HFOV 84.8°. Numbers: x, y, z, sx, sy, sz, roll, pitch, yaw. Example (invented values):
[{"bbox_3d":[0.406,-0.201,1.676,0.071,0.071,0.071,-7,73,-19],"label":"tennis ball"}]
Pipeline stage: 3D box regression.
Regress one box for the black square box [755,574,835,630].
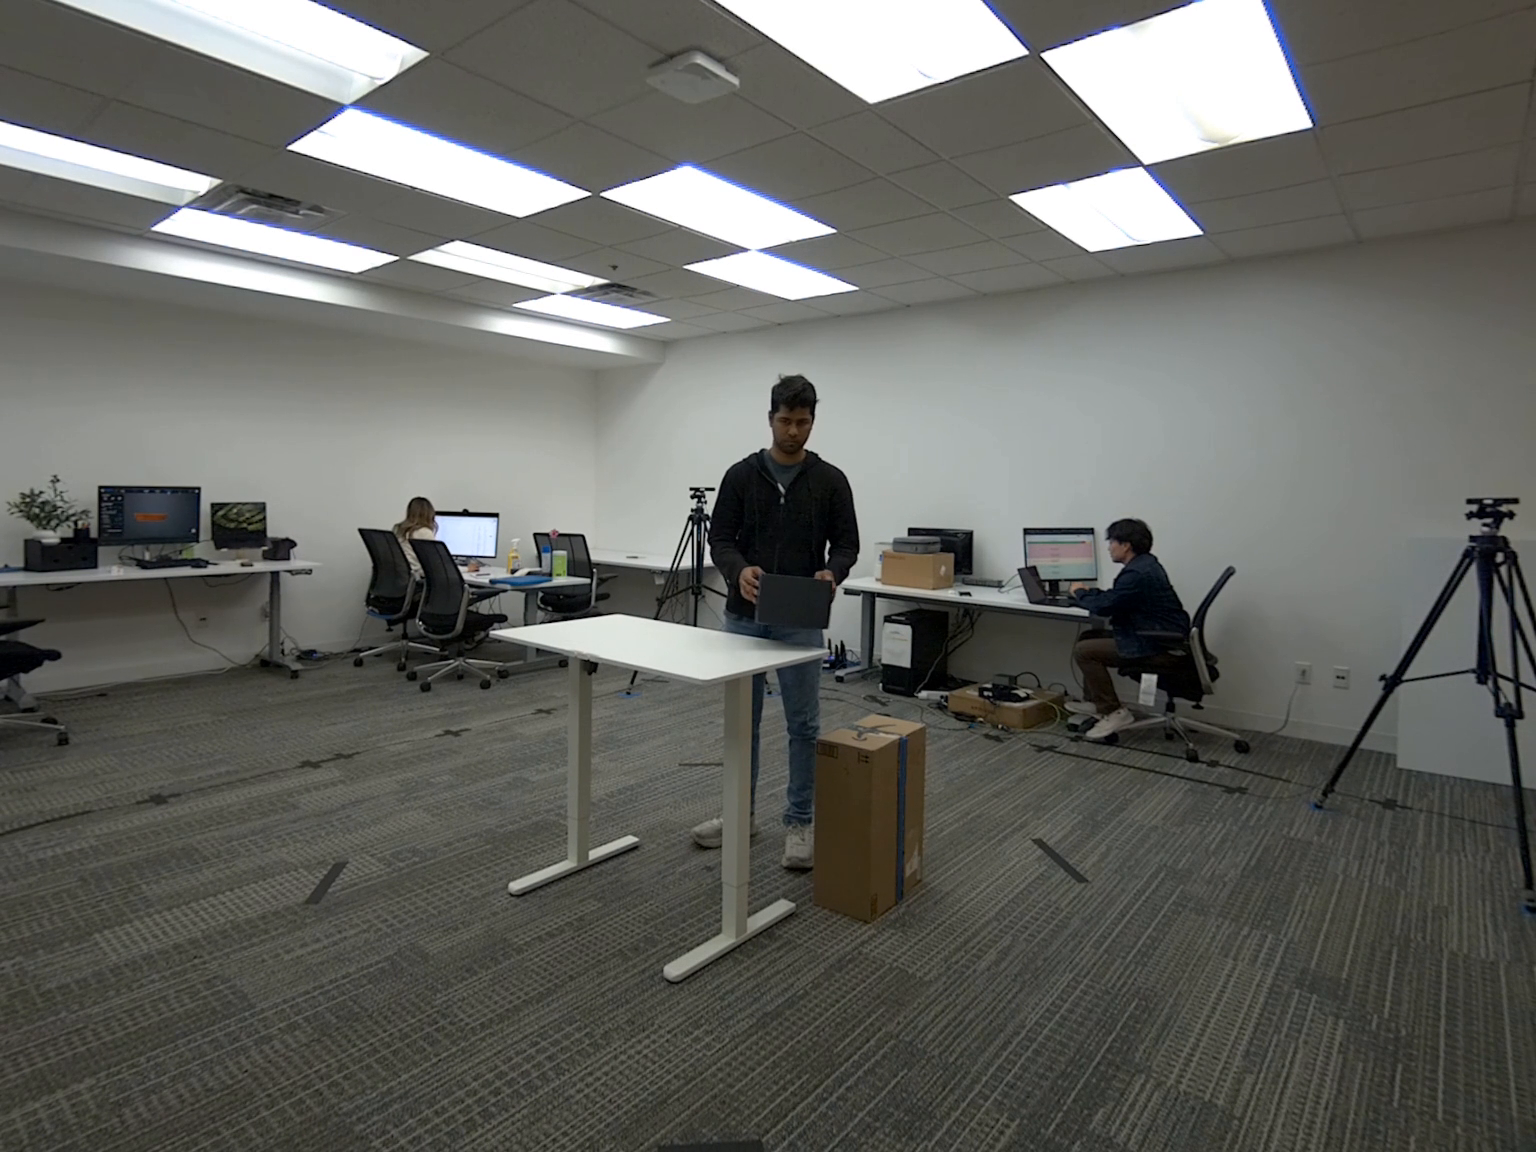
[{"bbox_3d":[0.075,0.084,2.801,0.228,0.156,0.216,5,-3,-1],"label":"black square box"}]
